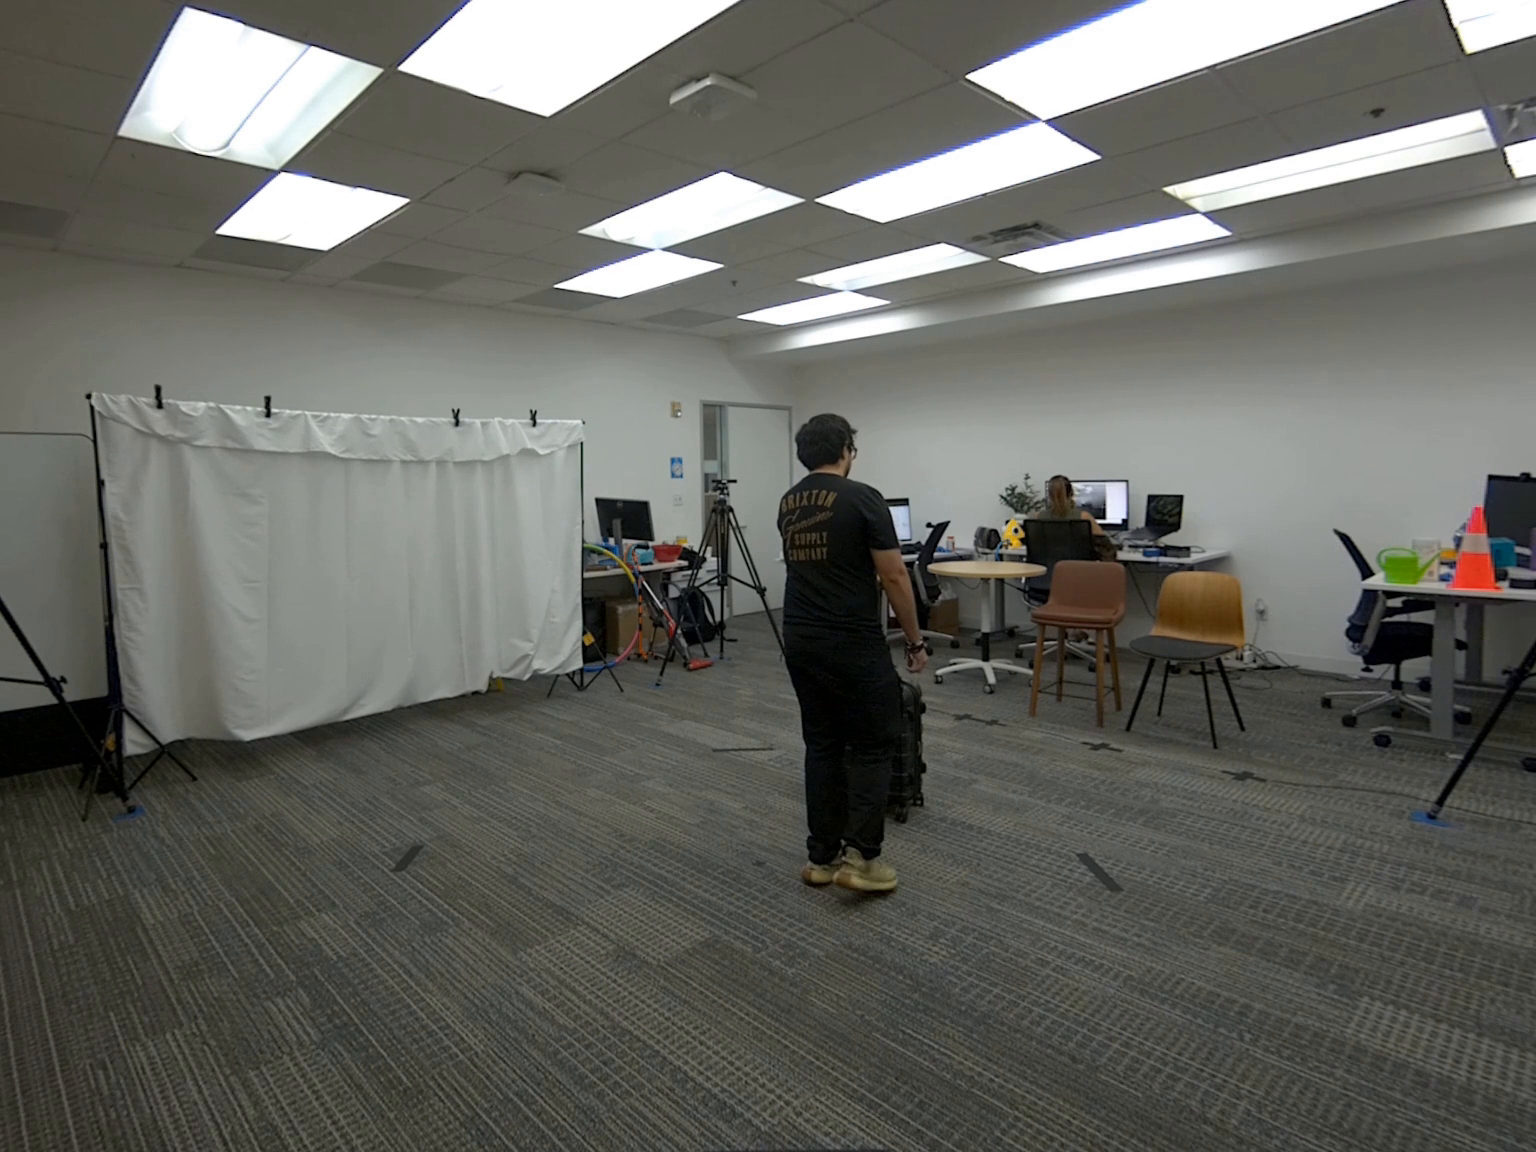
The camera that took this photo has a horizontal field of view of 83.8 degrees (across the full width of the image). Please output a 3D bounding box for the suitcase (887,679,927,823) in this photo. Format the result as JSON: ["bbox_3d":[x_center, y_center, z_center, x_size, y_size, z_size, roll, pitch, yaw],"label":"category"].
[{"bbox_3d":[0.473,0.506,3.655,0.393,0.981,0.250,-1,-2,28],"label":"suitcase"}]
